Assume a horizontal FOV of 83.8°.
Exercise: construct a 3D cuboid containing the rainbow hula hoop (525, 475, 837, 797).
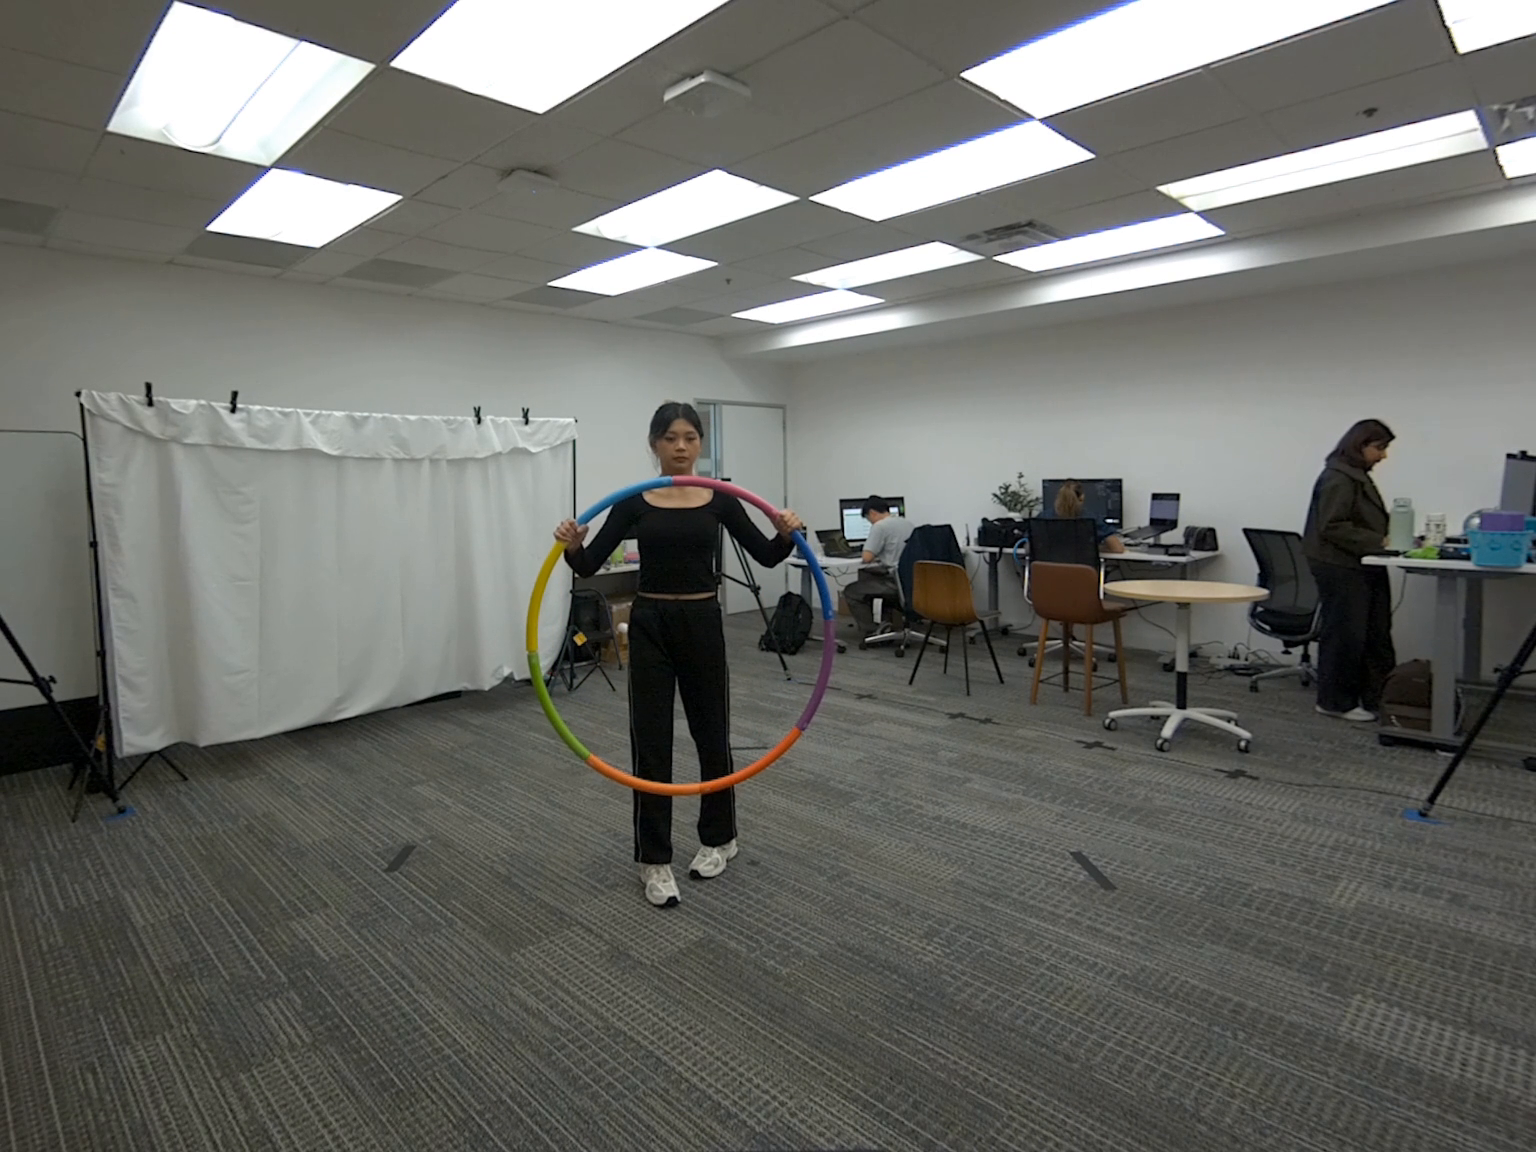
[{"bbox_3d":[-0.260,0.187,2.682,0.970,0.979,0.036,-2,-1,-9],"label":"rainbow hula hoop"}]
